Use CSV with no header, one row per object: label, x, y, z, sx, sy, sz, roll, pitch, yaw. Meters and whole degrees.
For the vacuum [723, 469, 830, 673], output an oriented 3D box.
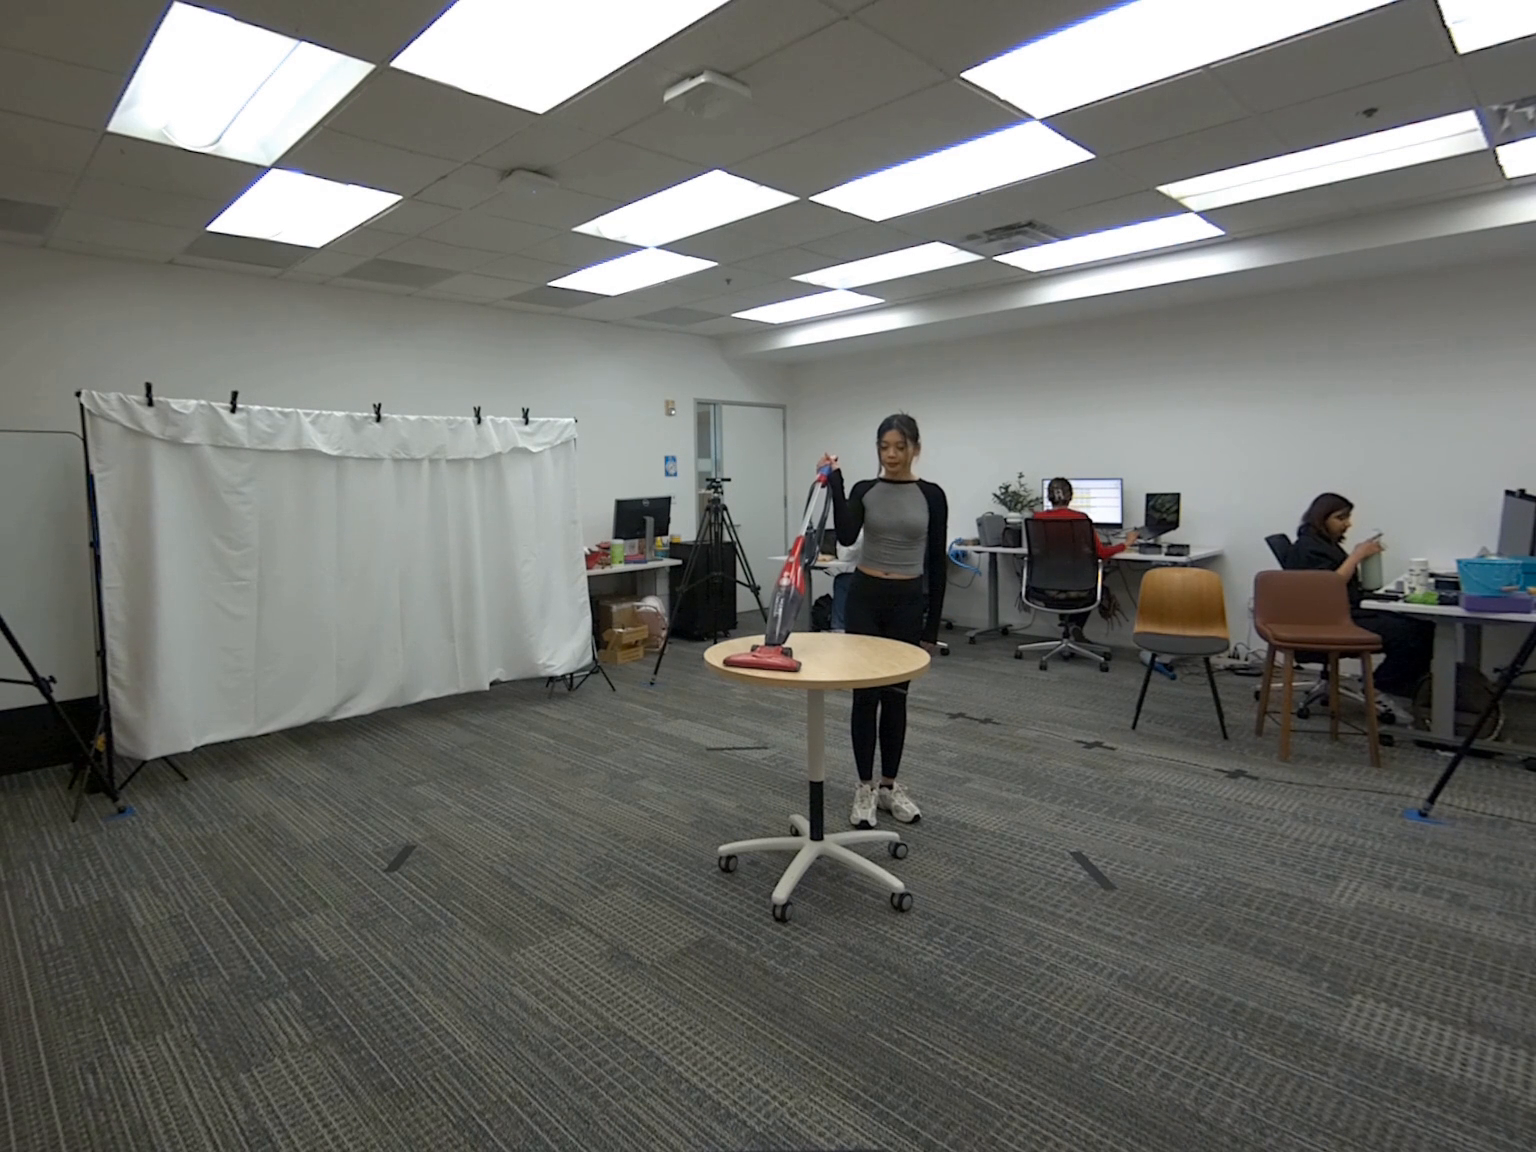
vacuum,0.127,-0.091,3.083,0.258,0.139,1.064,0,45,21
